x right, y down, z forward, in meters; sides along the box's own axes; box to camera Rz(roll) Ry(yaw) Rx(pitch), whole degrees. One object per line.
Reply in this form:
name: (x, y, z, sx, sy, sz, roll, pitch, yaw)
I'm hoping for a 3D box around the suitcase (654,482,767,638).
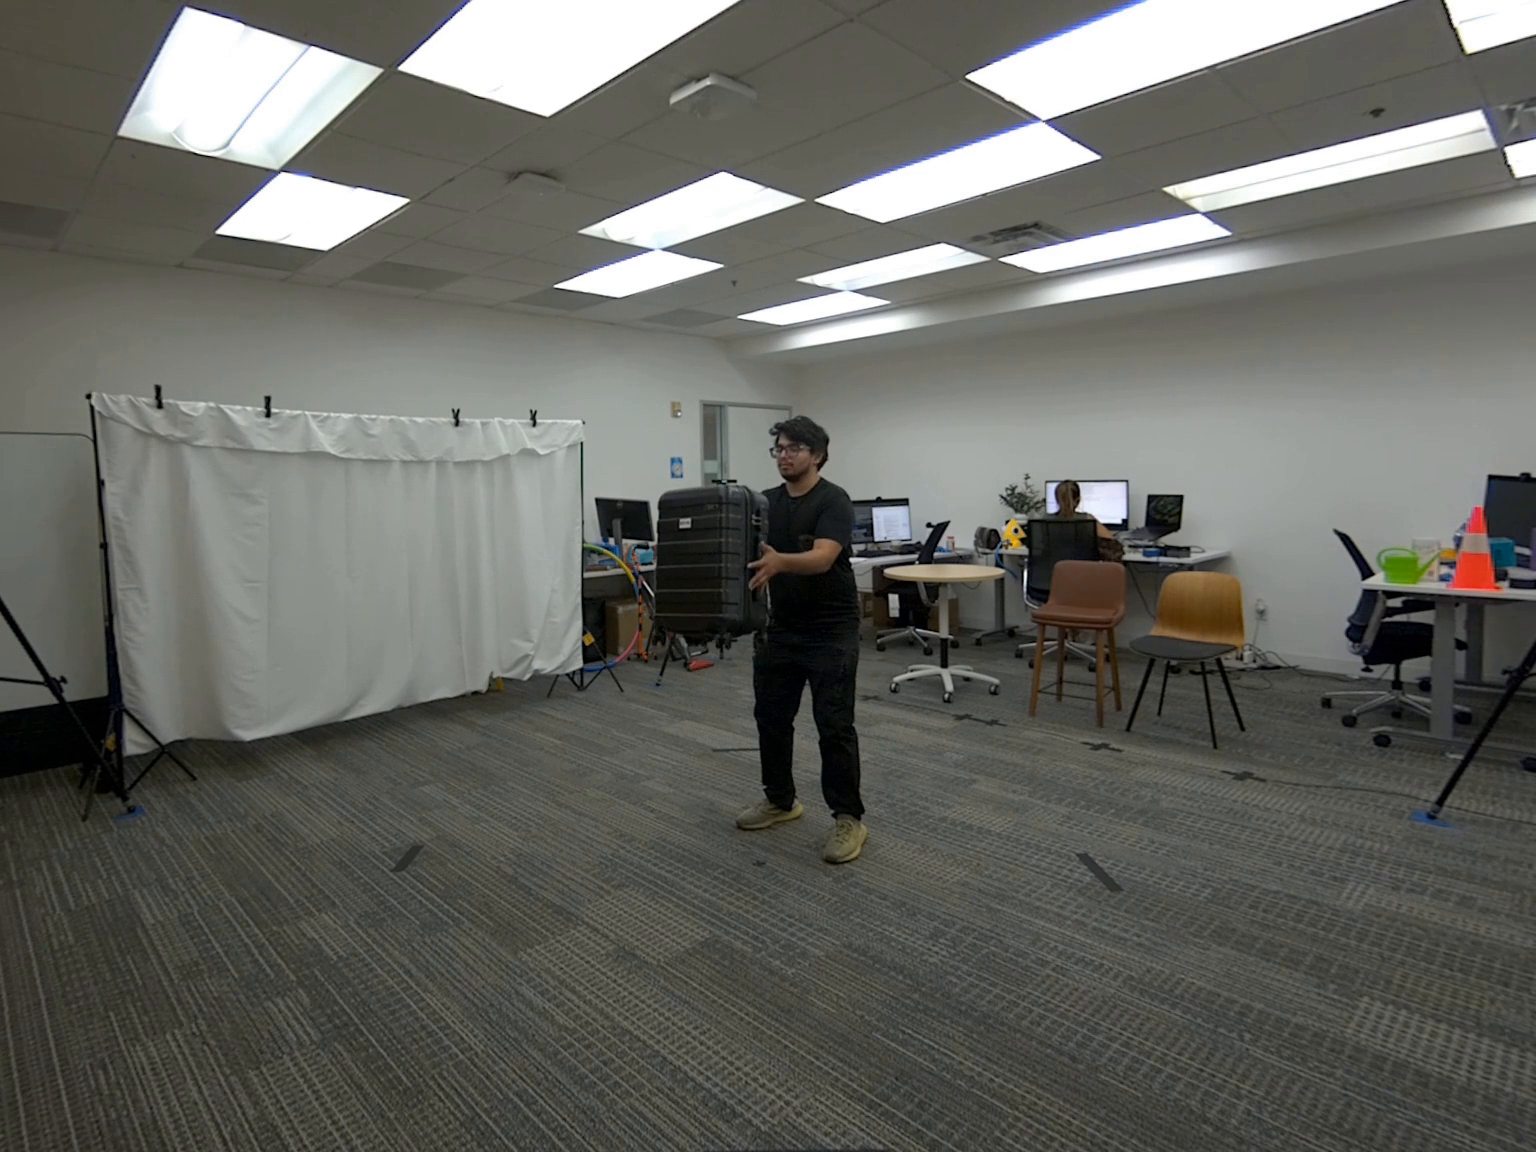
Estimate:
suitcase: (-0.188, -0.031, 2.916, 0.386, 0.551, 0.240, -2, -5, 42)
